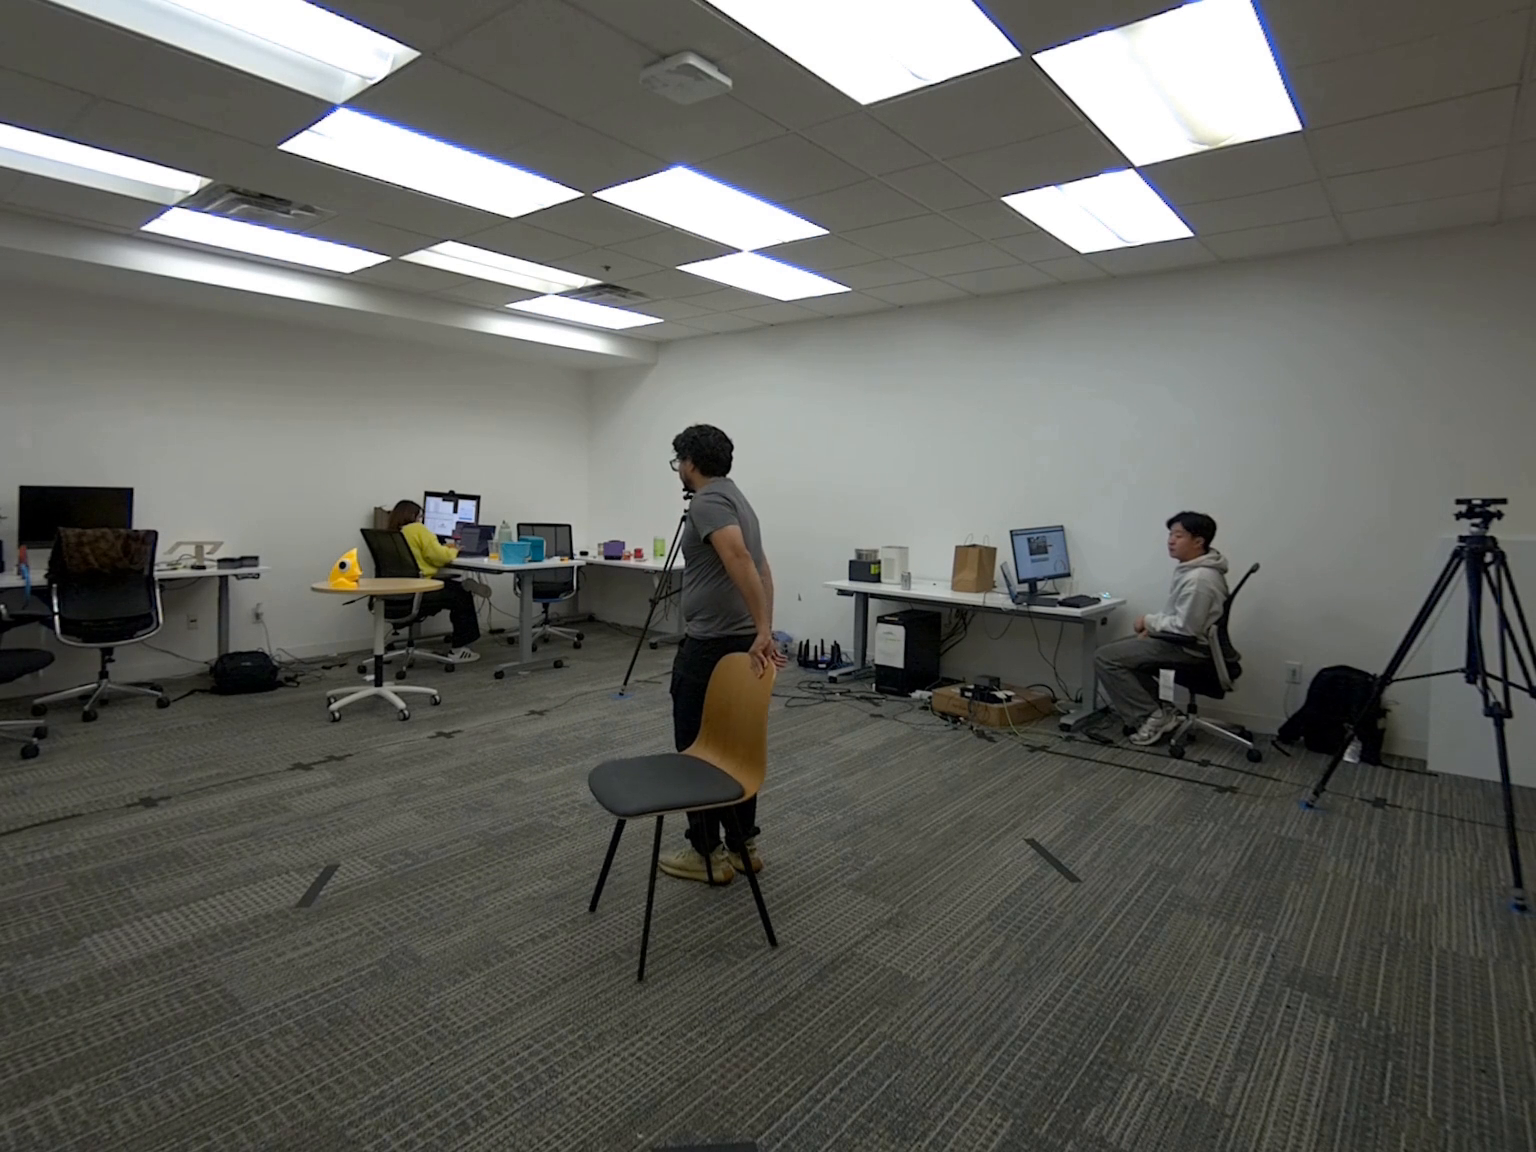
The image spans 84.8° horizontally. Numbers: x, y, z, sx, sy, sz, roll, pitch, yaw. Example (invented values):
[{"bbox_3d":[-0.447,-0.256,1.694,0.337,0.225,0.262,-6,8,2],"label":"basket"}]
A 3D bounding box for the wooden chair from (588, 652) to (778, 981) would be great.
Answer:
[{"bbox_3d":[-0.285,0.686,2.658,0.509,0.876,0.492,4,2,-28],"label":"wooden chair"}]
